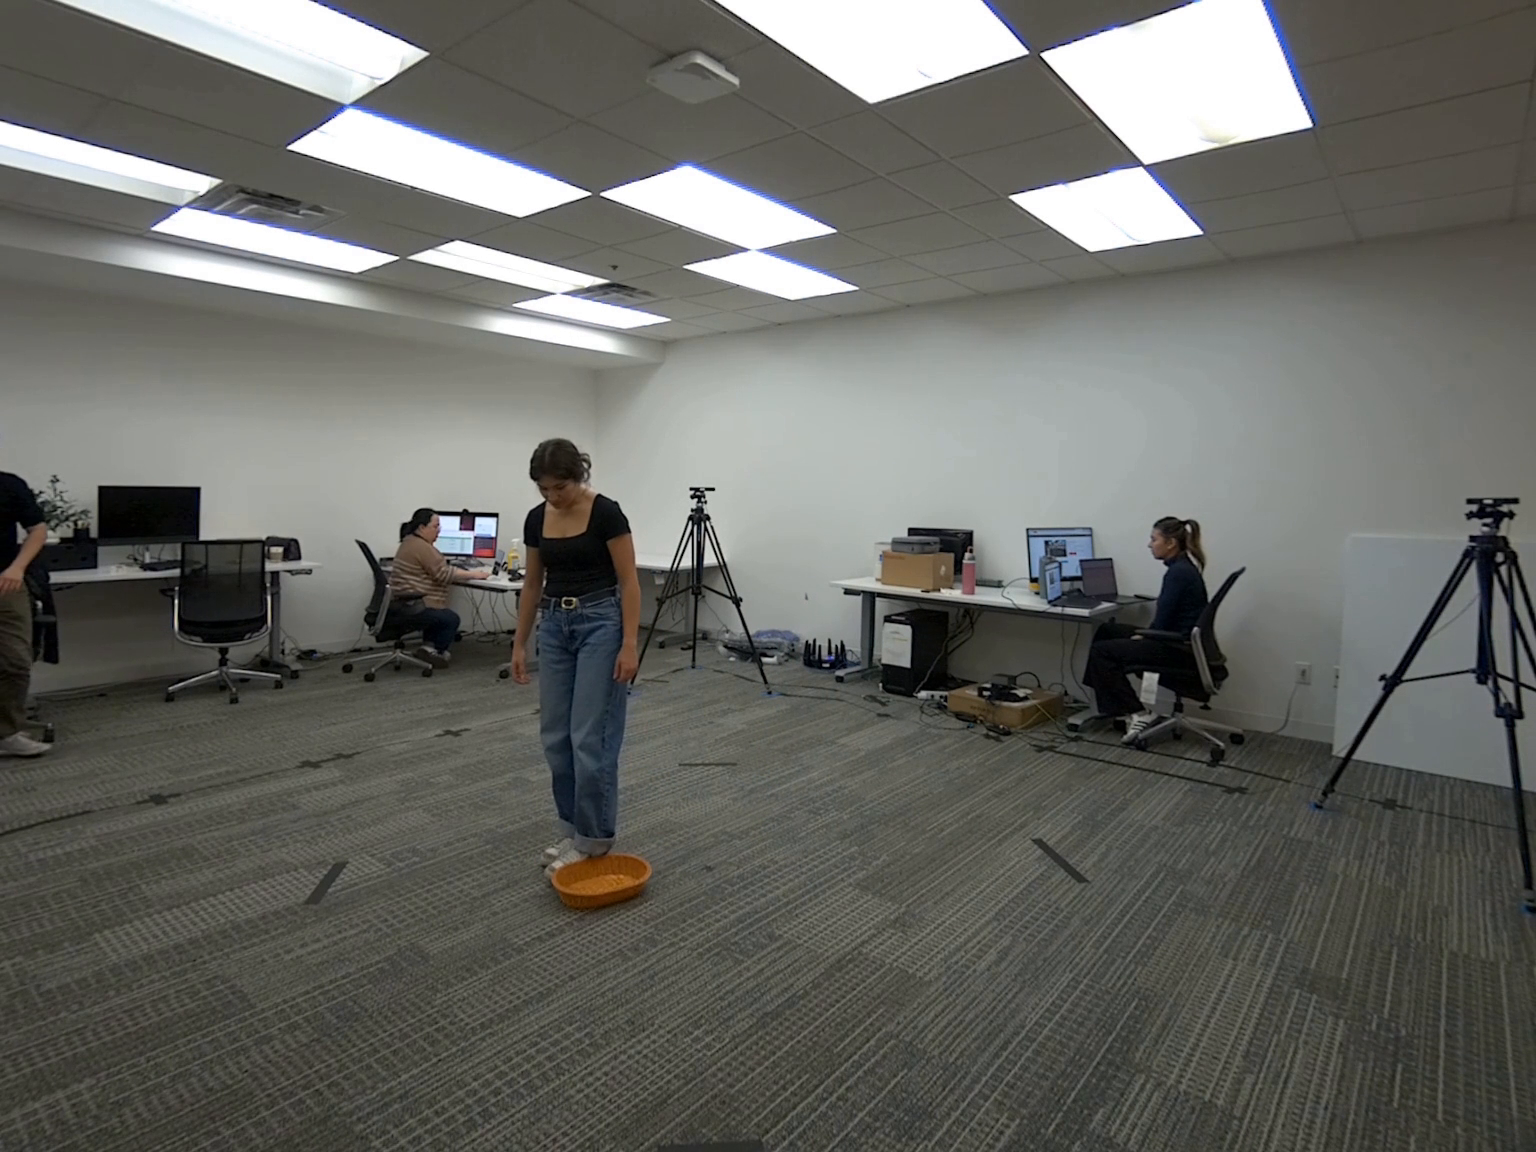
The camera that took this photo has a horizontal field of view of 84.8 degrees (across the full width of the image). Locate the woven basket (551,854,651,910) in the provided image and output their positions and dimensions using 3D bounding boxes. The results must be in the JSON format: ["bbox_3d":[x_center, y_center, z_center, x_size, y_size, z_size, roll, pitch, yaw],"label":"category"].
[{"bbox_3d":[-0.566,1.042,2.895,0.341,0.073,0.260,-2,8,-29],"label":"woven basket"}]
